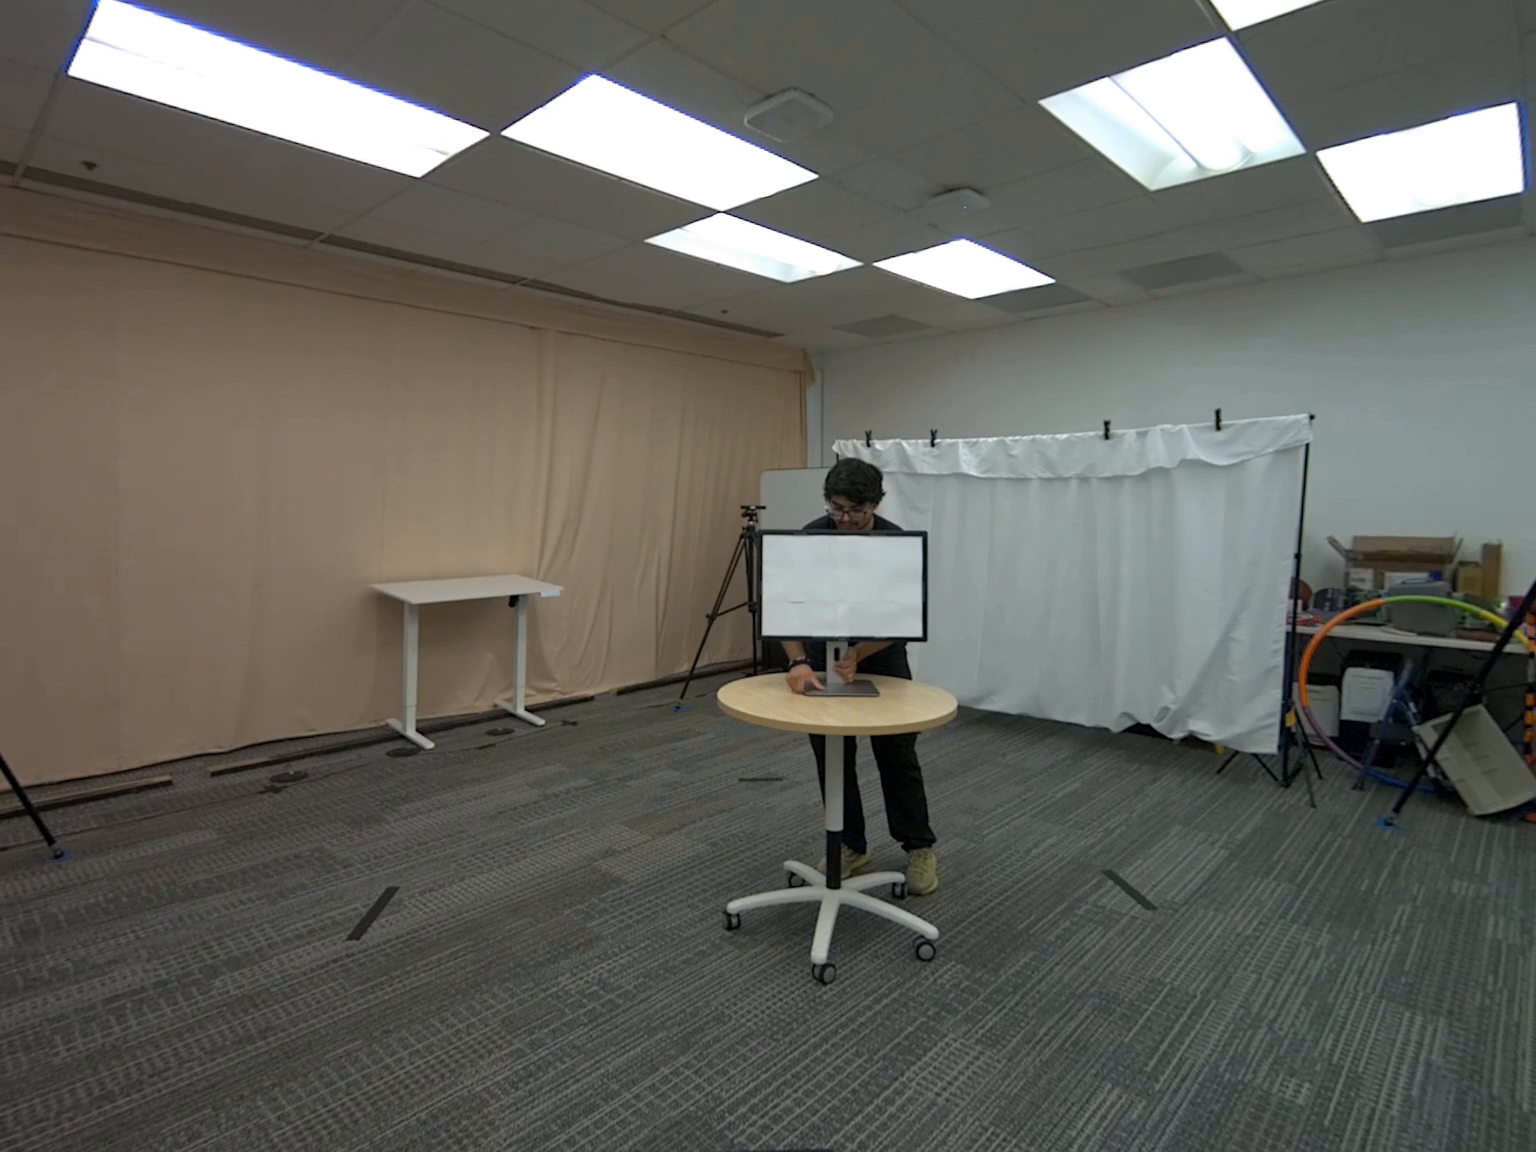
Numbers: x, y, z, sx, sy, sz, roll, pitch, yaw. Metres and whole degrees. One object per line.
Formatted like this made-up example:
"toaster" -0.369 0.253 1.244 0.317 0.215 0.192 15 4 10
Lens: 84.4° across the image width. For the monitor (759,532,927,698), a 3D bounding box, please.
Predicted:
"monitor" 0.241 0.116 2.826 0.565 0.553 0.210 -1 2 0
